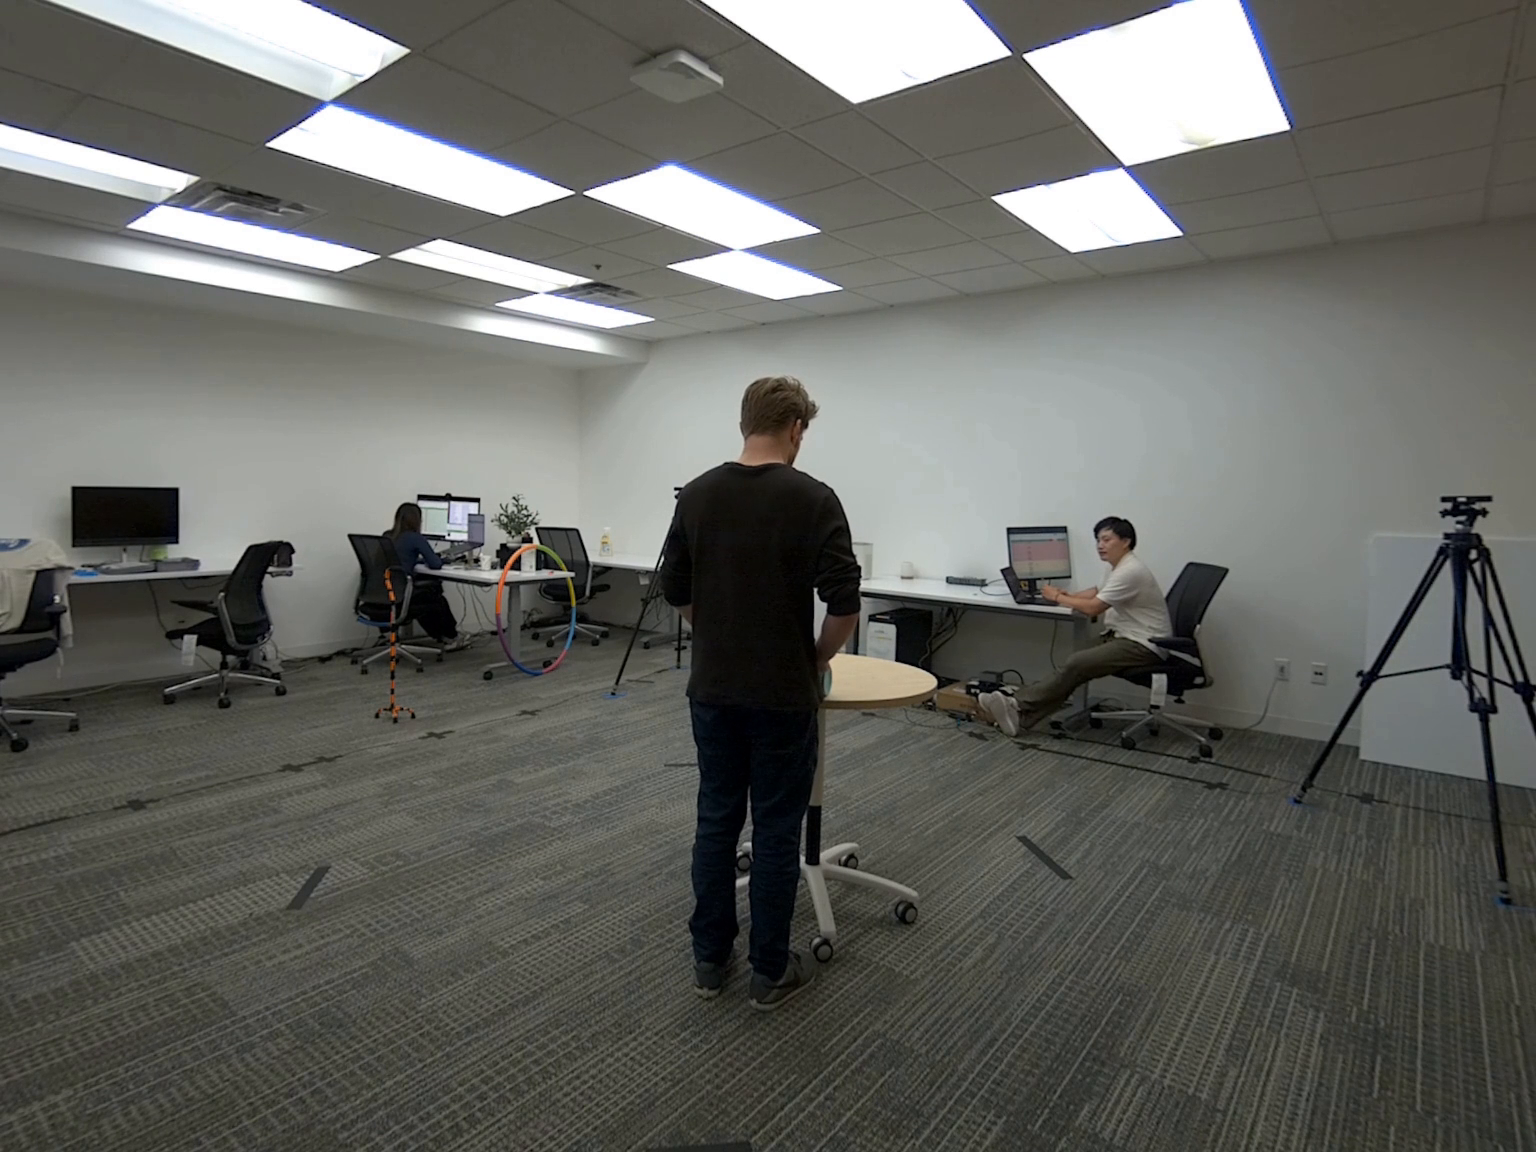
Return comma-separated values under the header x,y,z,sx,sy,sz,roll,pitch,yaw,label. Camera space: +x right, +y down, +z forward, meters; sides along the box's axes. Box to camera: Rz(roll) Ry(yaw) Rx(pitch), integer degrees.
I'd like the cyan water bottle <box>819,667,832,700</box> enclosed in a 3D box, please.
x,y,z,sx,sy,sz,roll,pitch,yaw,label
0.044,0.297,2.551,0.290,0.092,0.090,3,4,21,cyan water bottle
